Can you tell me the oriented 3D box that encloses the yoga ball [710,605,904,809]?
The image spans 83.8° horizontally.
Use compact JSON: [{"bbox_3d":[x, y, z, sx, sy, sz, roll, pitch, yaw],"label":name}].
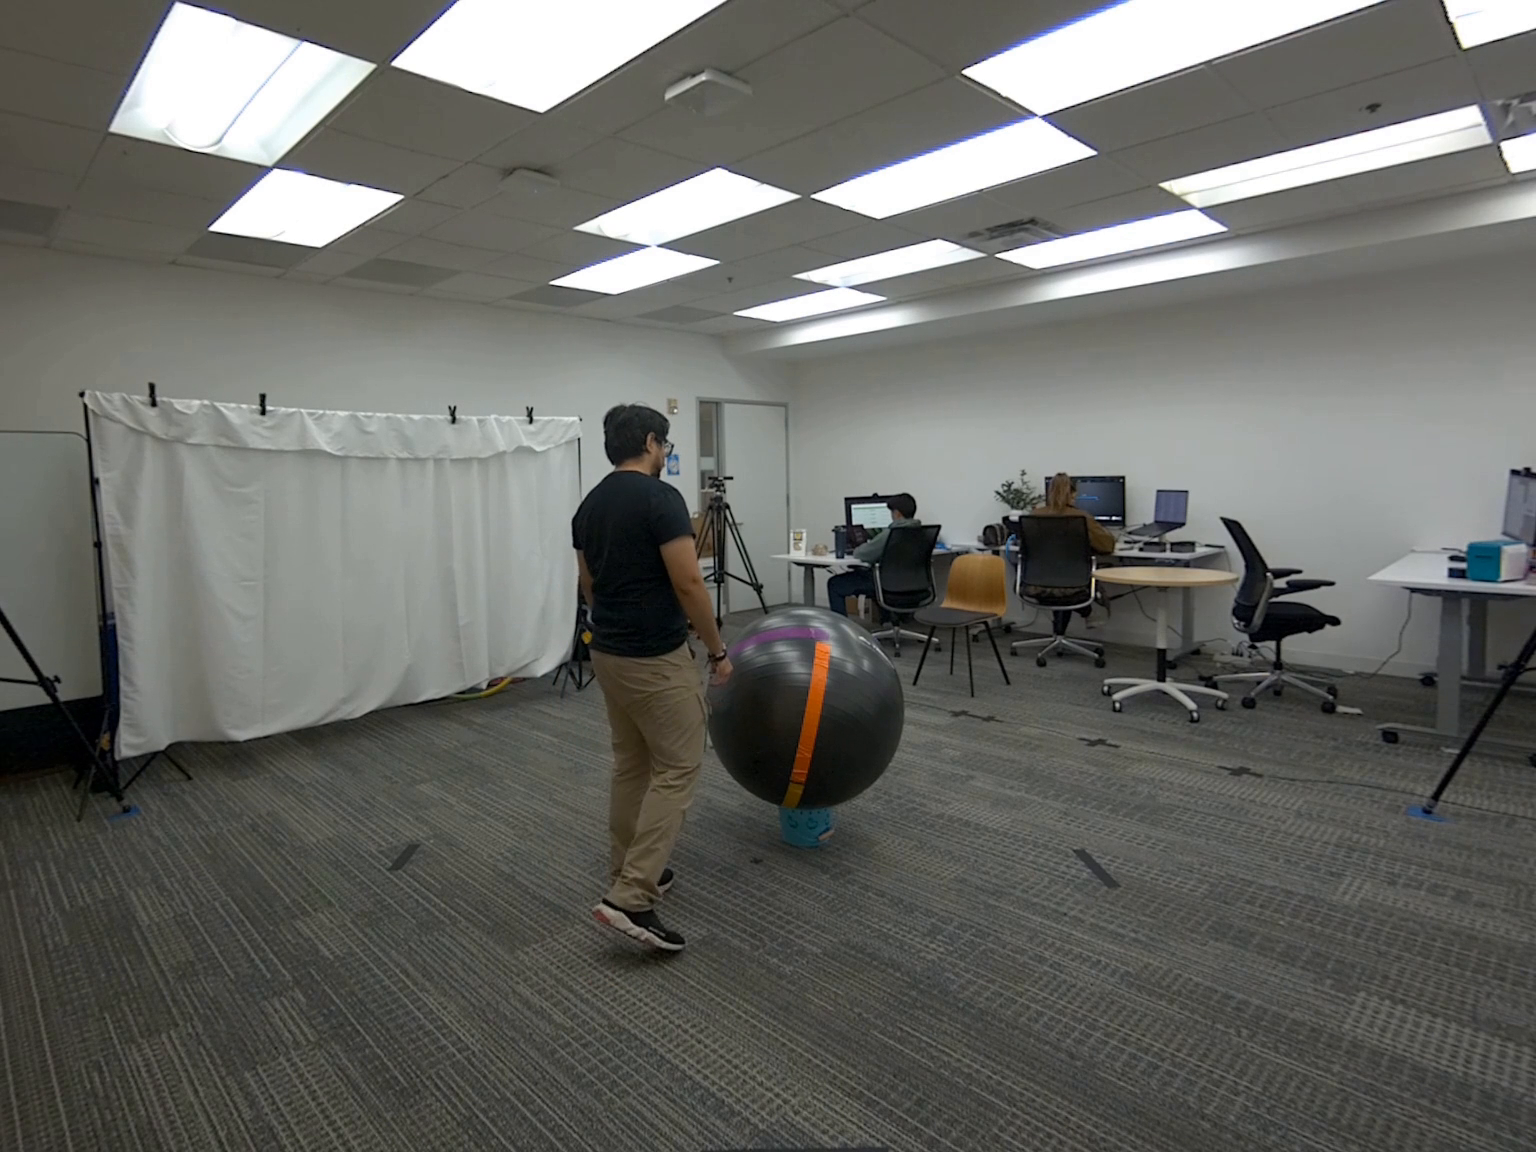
[{"bbox_3d":[0.135,0.507,3.282,0.757,0.755,0.762,-1,5,-2],"label":"yoga ball"}]
